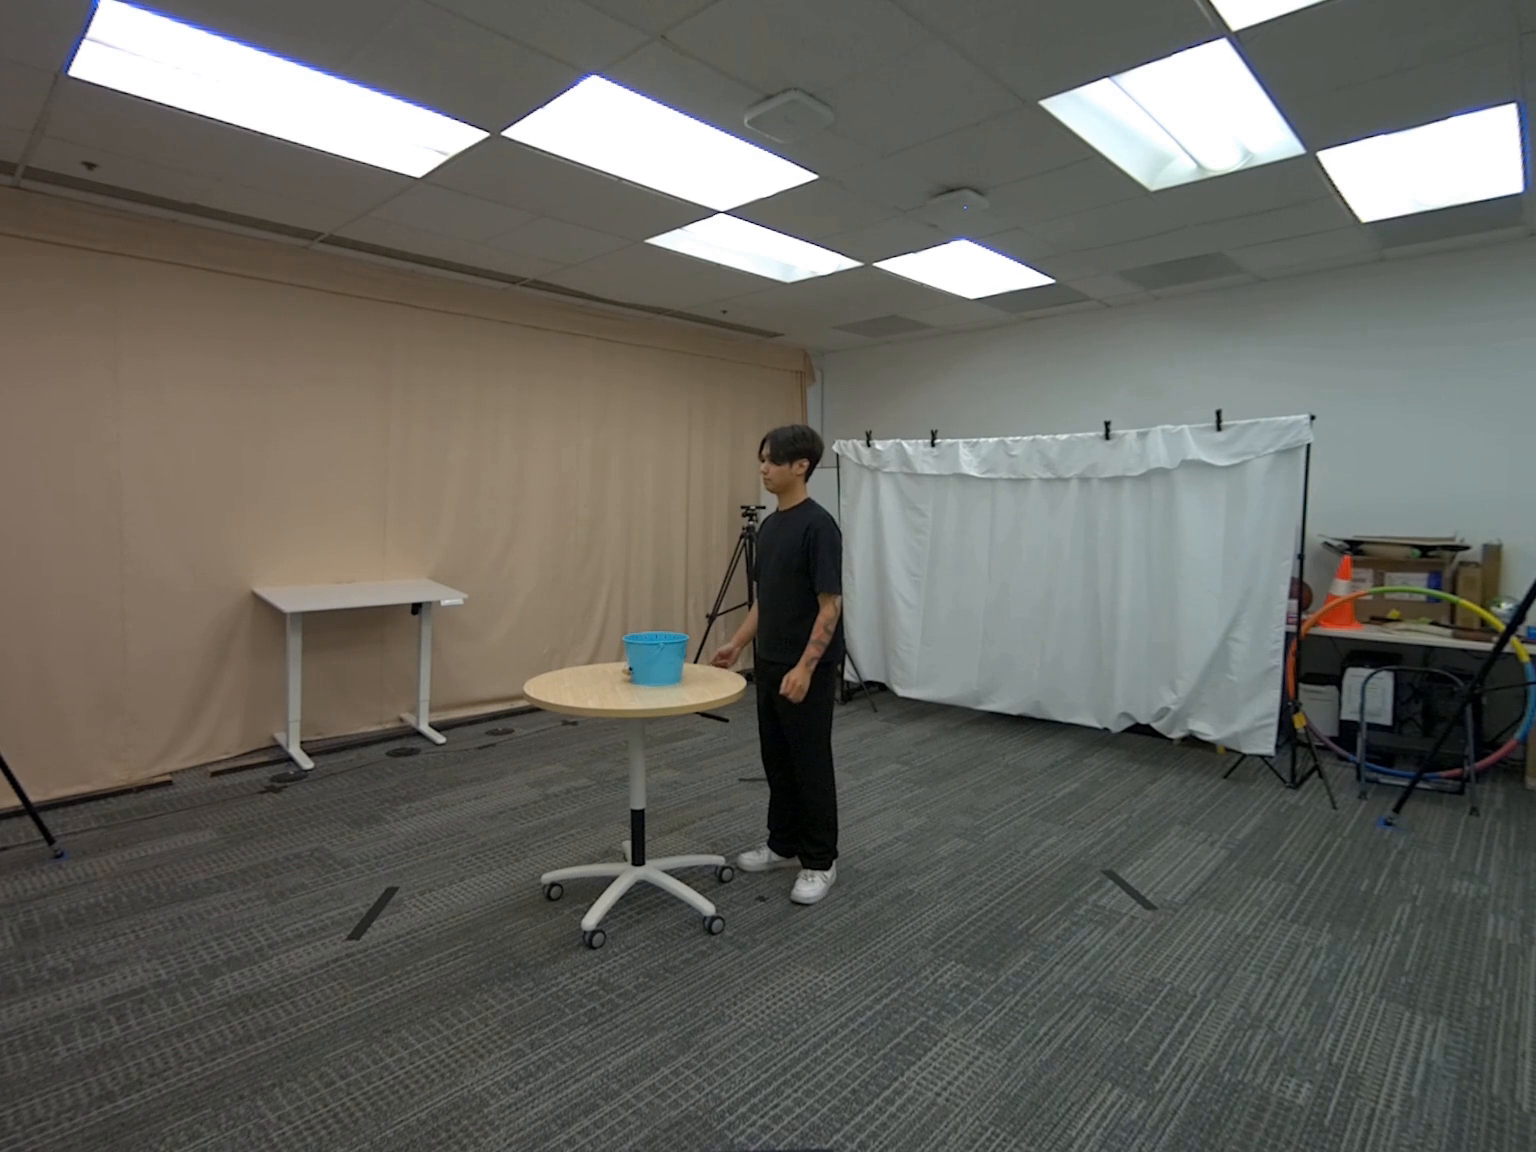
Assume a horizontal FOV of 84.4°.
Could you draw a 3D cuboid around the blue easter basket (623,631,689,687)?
[{"bbox_3d":[-0.386,0.296,2.940,0.243,0.155,0.244,-1,5,-2],"label":"blue easter basket"}]
